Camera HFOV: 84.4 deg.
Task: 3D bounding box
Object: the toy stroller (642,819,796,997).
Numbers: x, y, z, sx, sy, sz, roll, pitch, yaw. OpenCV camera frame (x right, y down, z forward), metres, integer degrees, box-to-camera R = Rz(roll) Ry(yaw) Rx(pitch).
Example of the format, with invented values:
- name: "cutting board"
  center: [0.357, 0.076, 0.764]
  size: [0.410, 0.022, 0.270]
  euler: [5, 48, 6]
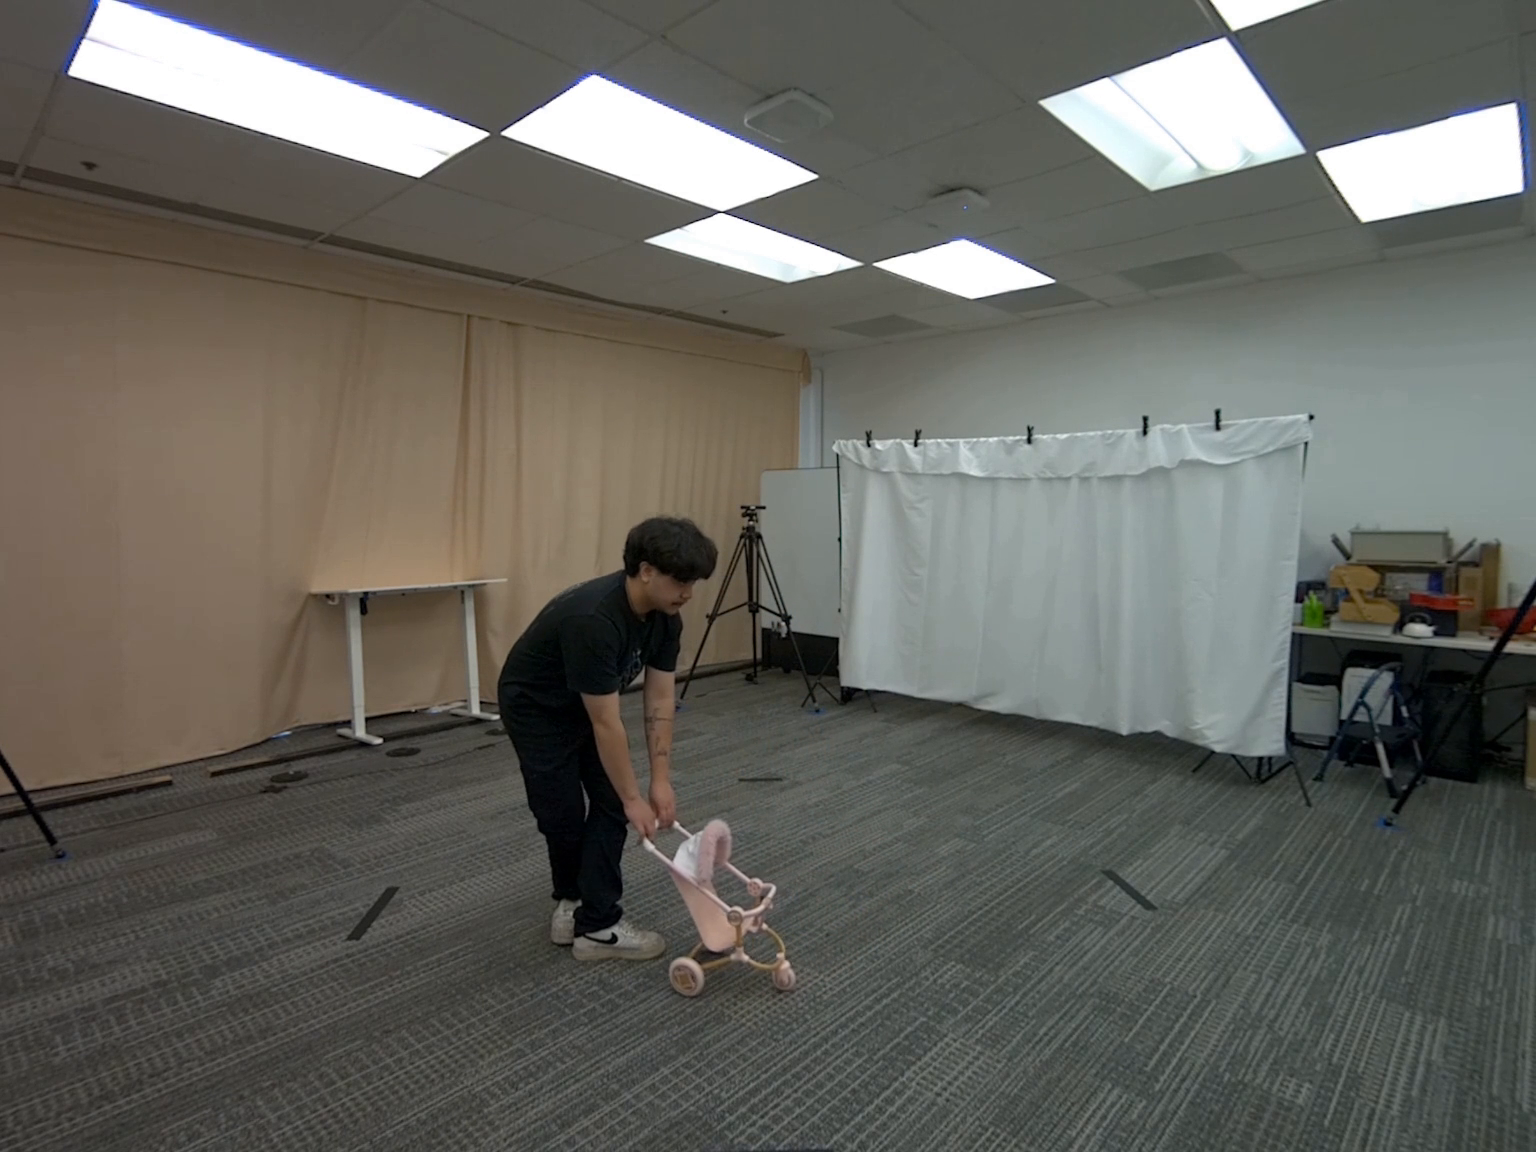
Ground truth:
- name: "toy stroller"
  center: [-0.134, 0.966, 2.472]
  size: [0.348, 0.537, 0.275]
  euler: [-16, -4, 23]
